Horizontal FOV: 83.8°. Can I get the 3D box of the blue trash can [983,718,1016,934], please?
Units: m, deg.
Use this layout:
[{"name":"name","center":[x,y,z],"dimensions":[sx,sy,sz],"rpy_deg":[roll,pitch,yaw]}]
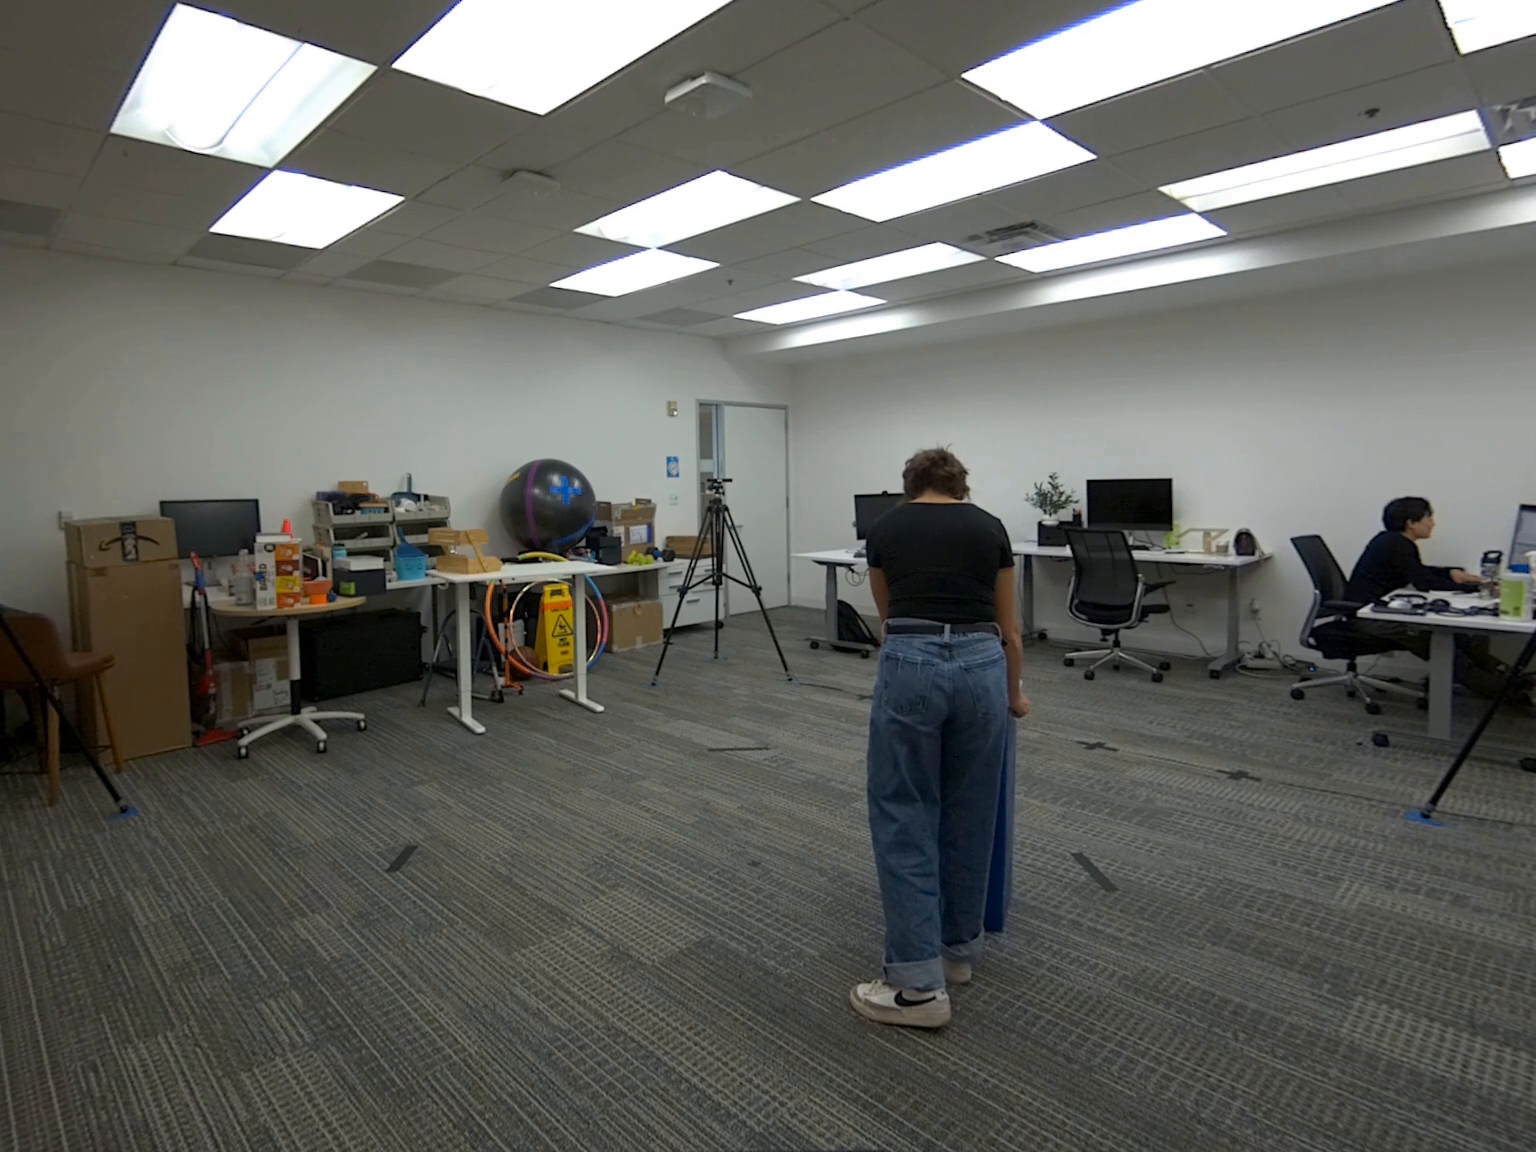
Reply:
[{"name":"blue trash can","center":[0.620,0.712,2.774],"dimensions":[0.382,0.711,0.372],"rpy_deg":[1,5,22]}]
